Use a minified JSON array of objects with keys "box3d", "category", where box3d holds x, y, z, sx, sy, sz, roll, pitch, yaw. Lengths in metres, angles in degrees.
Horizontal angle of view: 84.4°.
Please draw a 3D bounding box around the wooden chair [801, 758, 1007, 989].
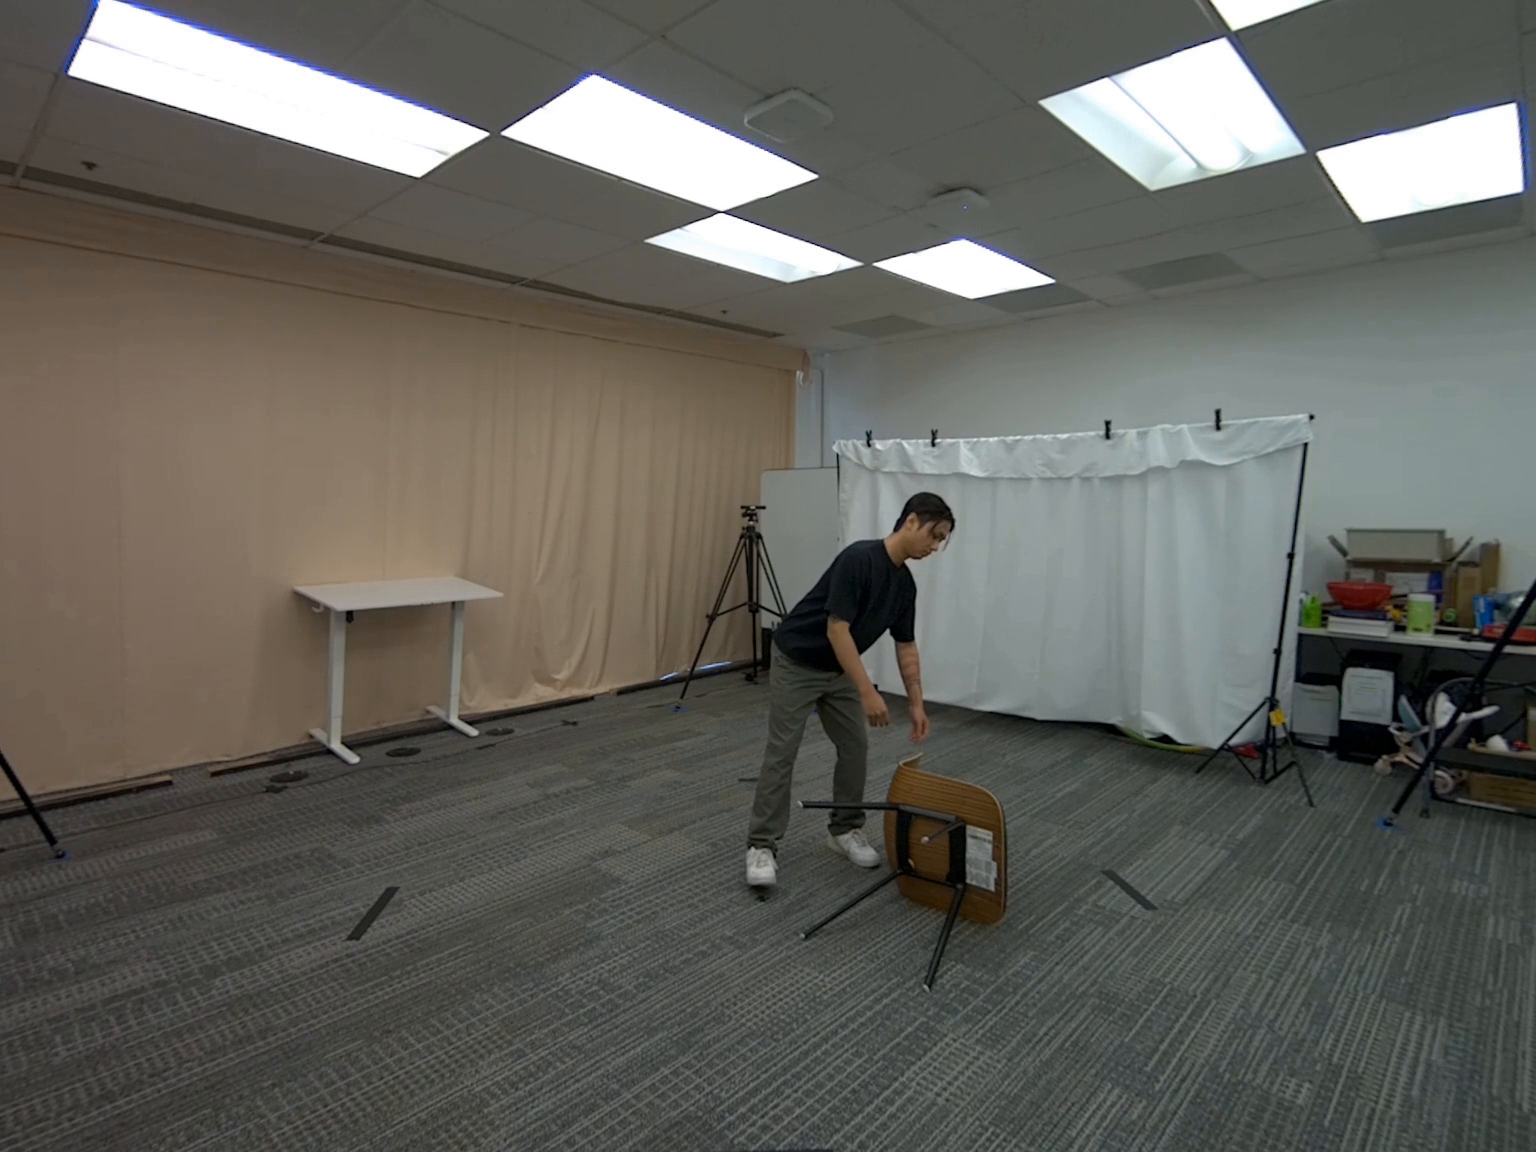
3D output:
[{"box3d":[0.554,0.922,2.851,0.539,0.477,0.852,2,5,35],"category":"wooden chair"}]
